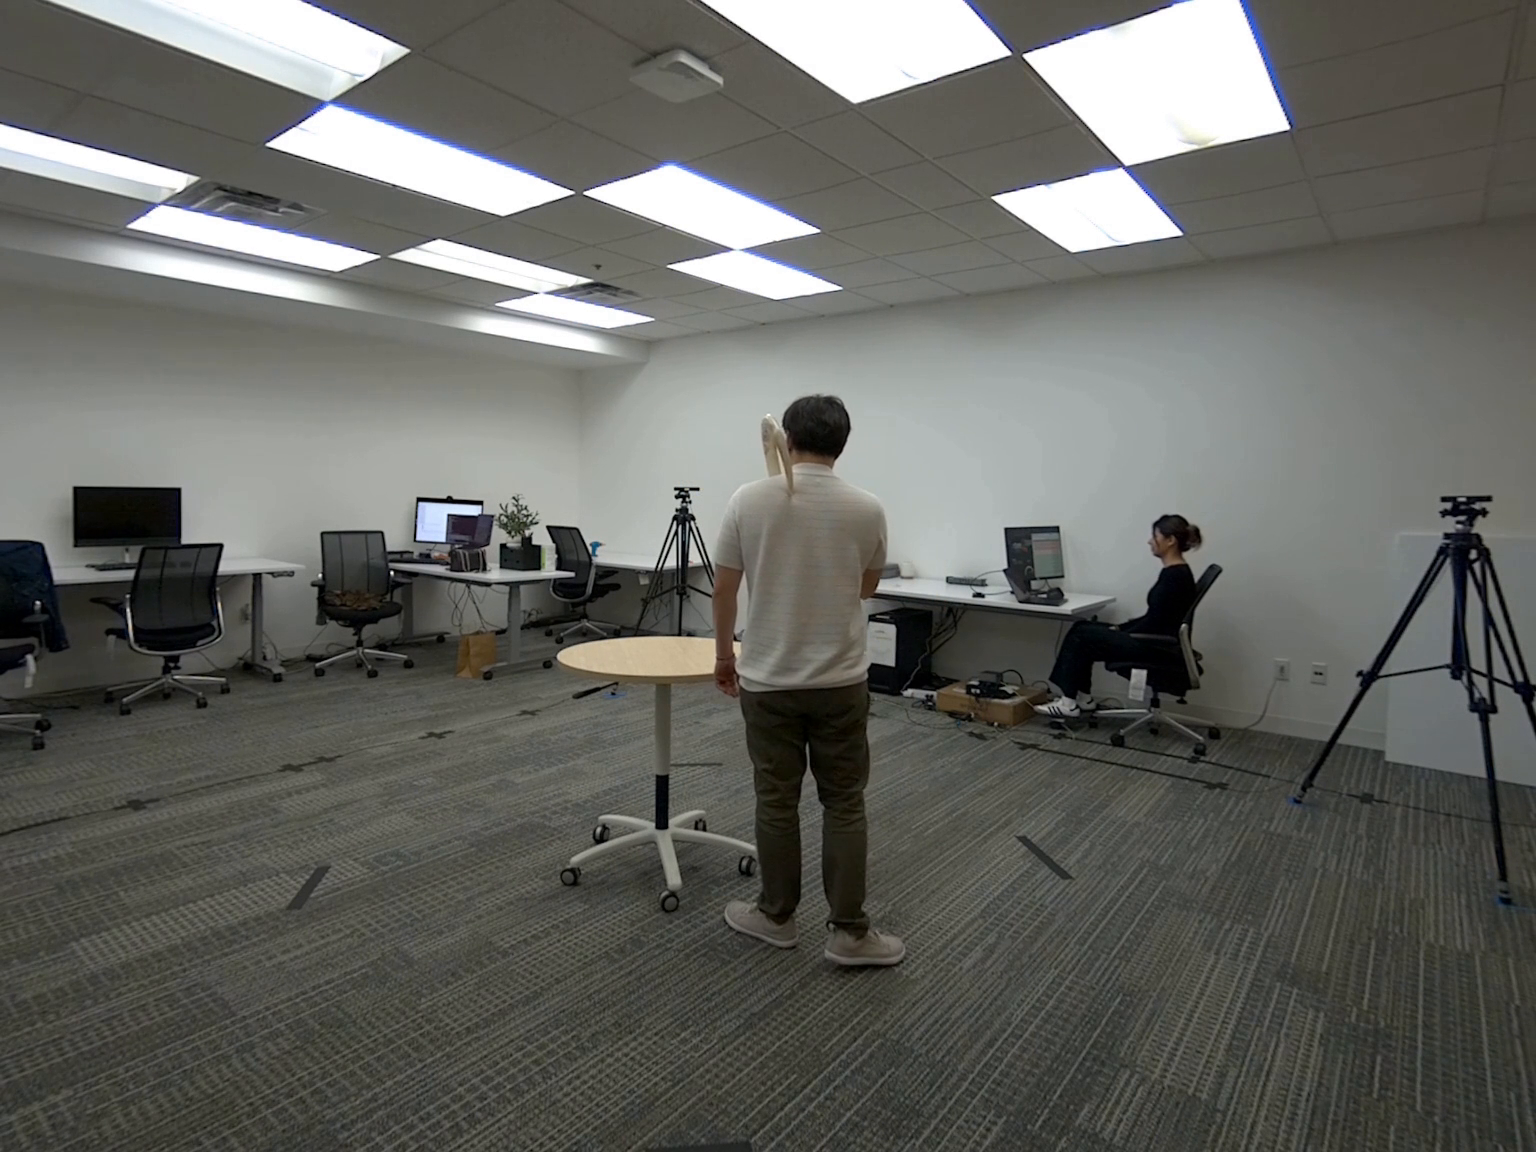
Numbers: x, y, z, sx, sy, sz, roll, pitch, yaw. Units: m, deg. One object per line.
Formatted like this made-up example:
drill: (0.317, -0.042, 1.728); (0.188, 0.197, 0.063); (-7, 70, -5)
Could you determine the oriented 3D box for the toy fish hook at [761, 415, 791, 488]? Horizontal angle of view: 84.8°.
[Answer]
toy fish hook: (0.035, -0.248, 2.550); (0.048, 0.490, 0.233); (-13, 38, -7)
